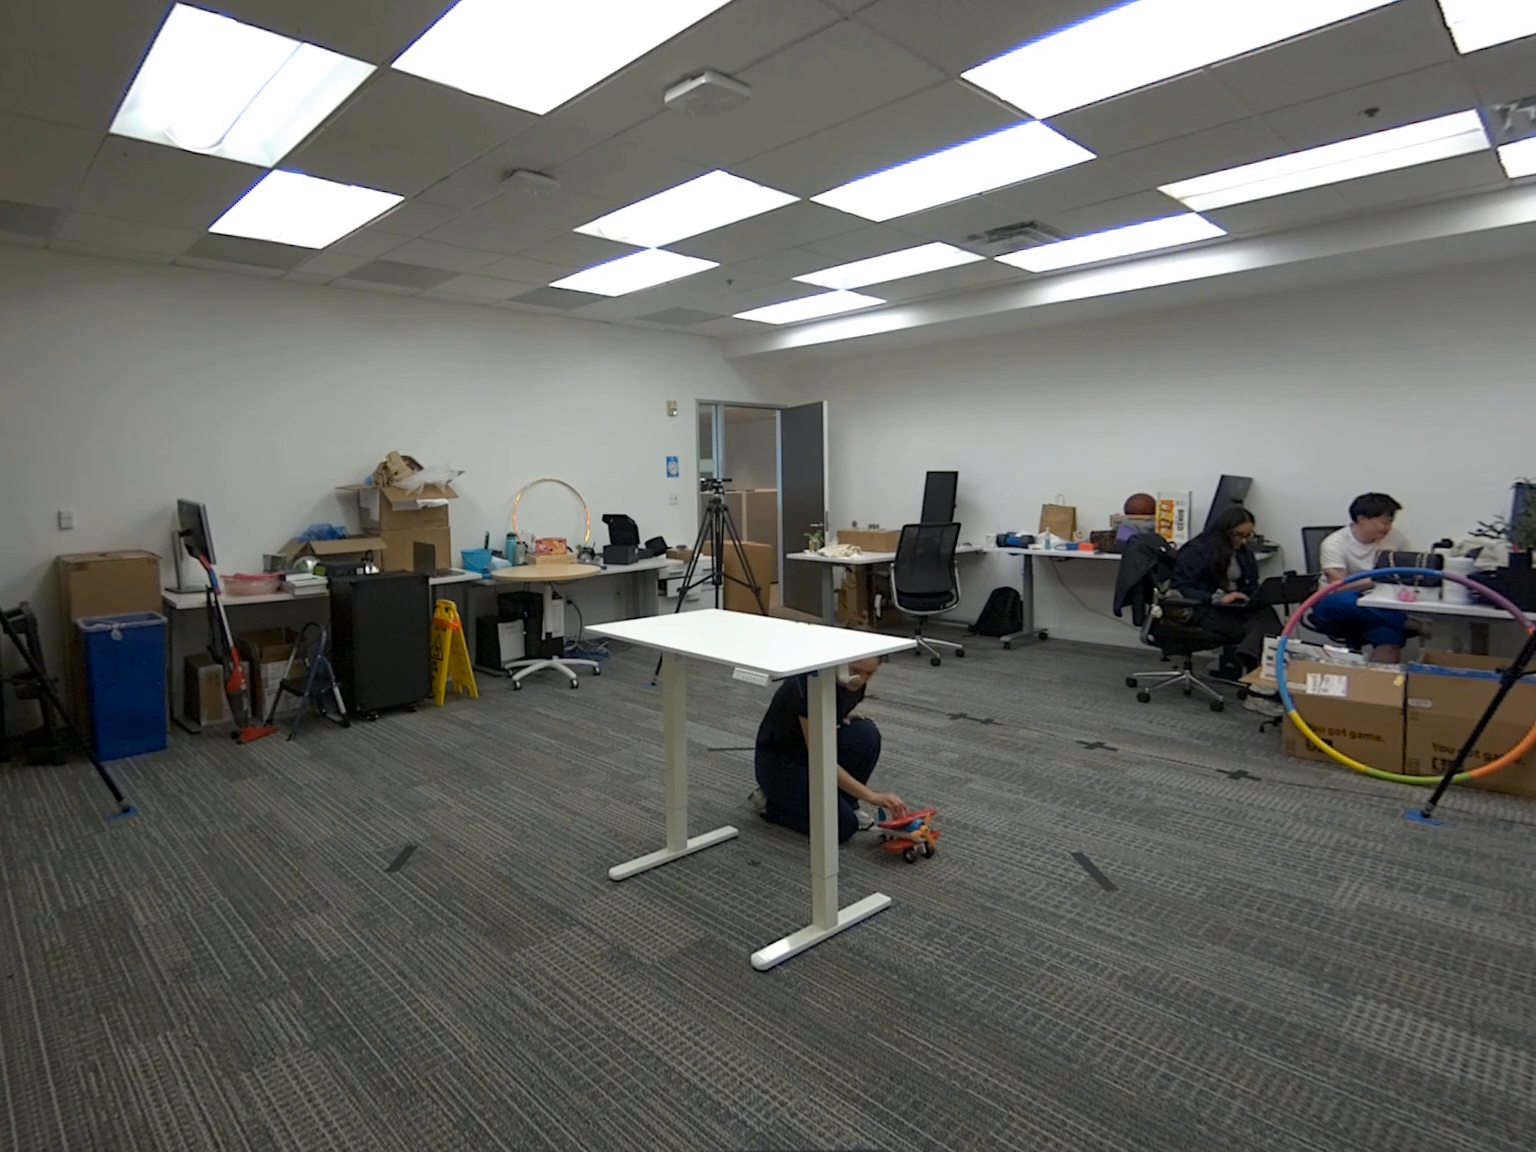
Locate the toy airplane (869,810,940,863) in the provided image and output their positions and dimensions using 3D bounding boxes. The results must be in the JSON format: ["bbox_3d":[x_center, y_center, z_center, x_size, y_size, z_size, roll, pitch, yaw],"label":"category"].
[{"bbox_3d":[0.483,0.944,3.170,0.266,0.155,0.246,4,8,31],"label":"toy airplane"}]
